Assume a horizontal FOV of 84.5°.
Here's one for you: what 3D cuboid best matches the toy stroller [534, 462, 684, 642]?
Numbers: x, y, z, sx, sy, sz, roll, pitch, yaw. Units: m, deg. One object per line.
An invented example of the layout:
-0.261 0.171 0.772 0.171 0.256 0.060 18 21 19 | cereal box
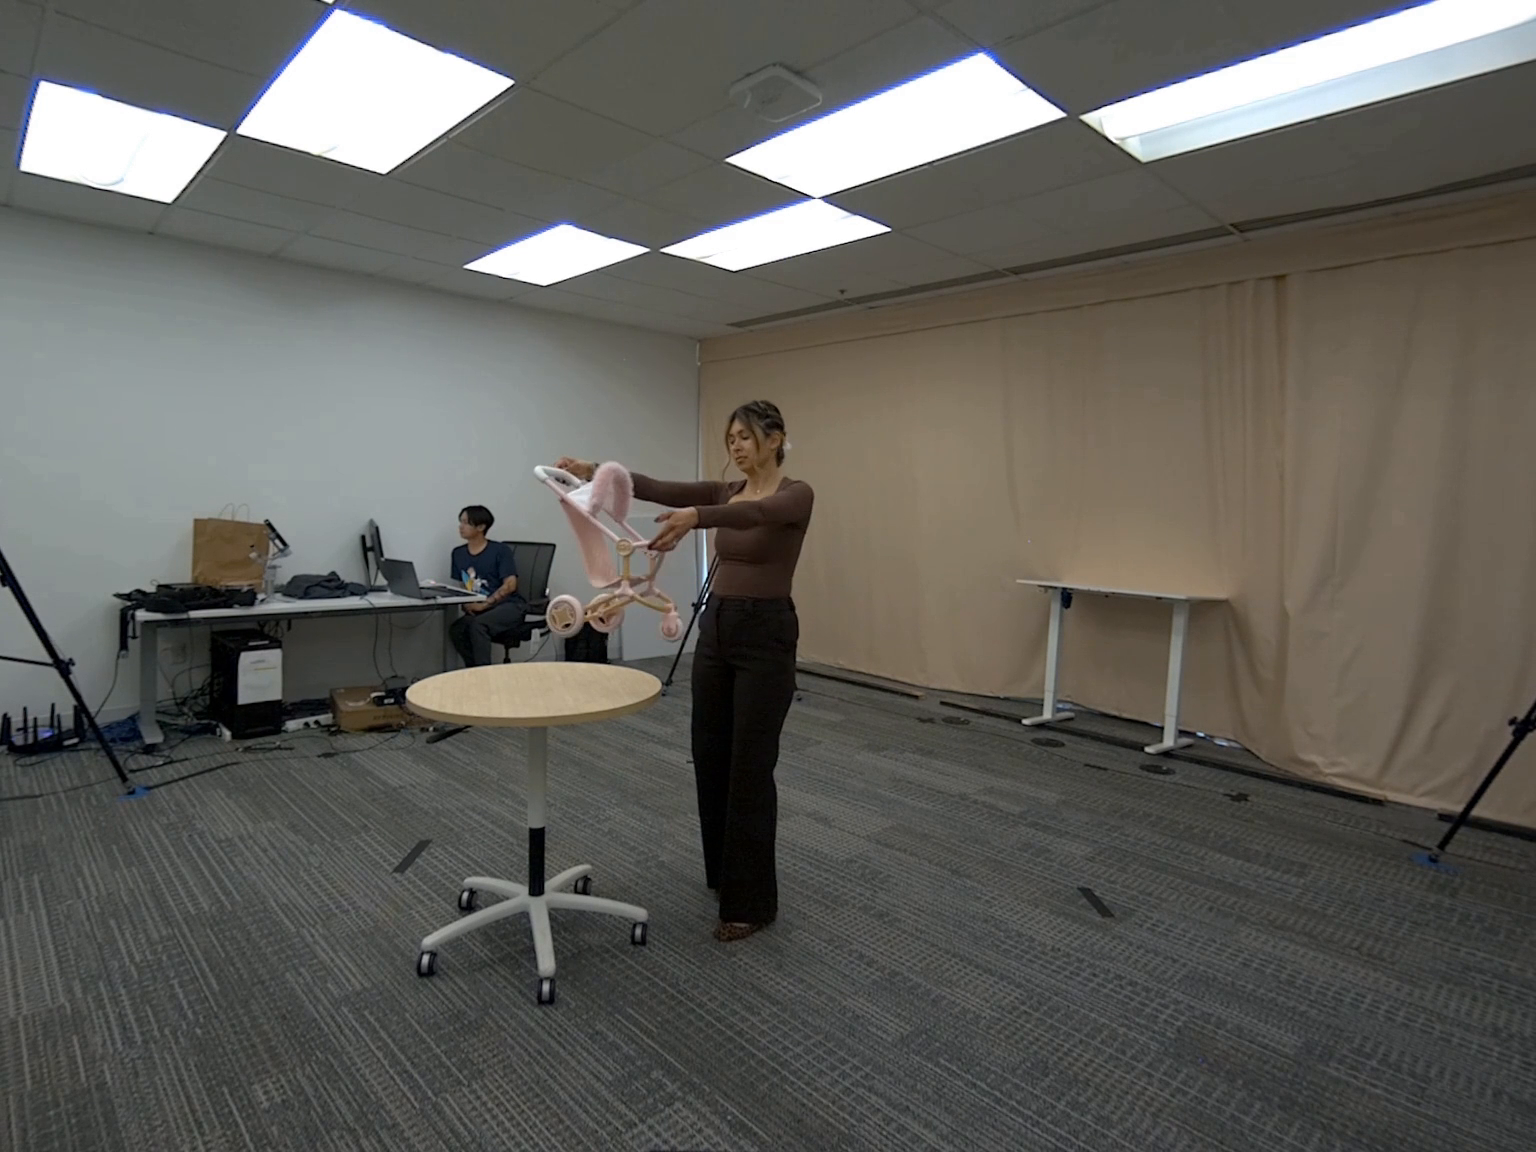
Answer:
-0.427 -0.064 2.281 0.345 0.538 0.277 -12 -6 19 | toy stroller
